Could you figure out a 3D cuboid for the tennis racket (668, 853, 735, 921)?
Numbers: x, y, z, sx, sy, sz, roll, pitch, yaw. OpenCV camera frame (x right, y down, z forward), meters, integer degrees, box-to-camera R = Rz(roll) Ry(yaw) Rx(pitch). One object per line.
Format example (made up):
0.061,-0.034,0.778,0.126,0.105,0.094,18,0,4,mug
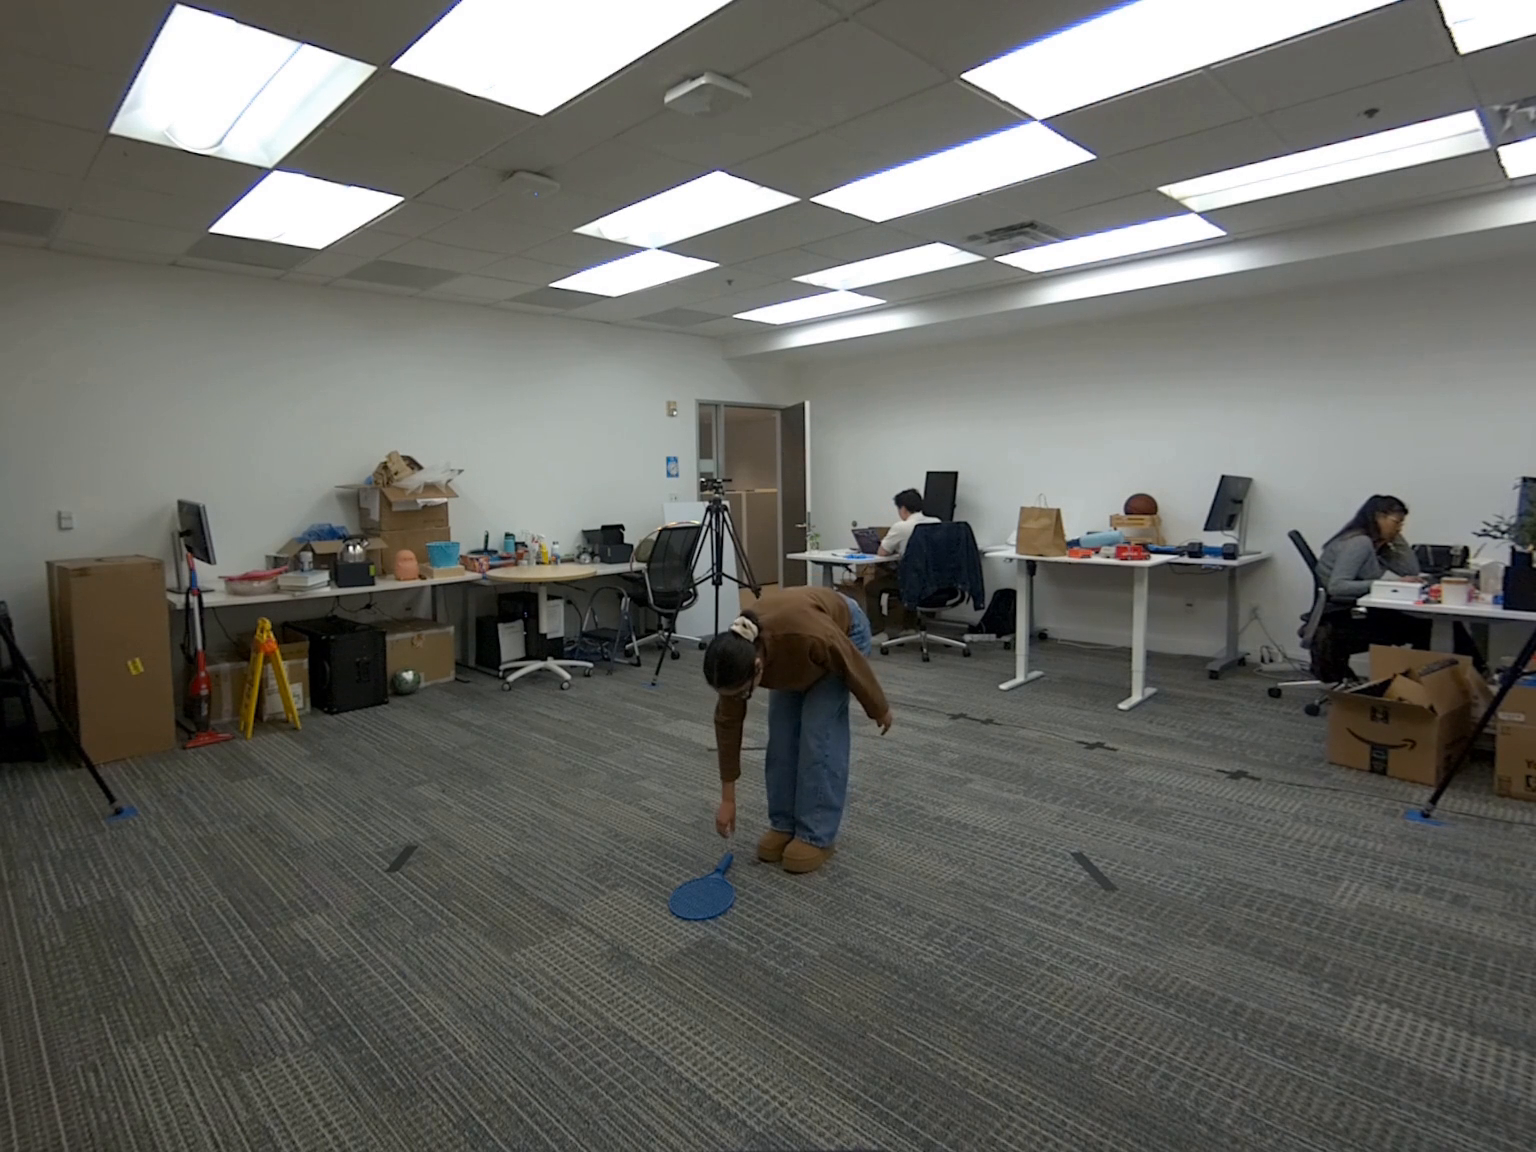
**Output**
-0.192,1.055,2.915,0.217,0.031,0.428,1,8,16,tennis racket
